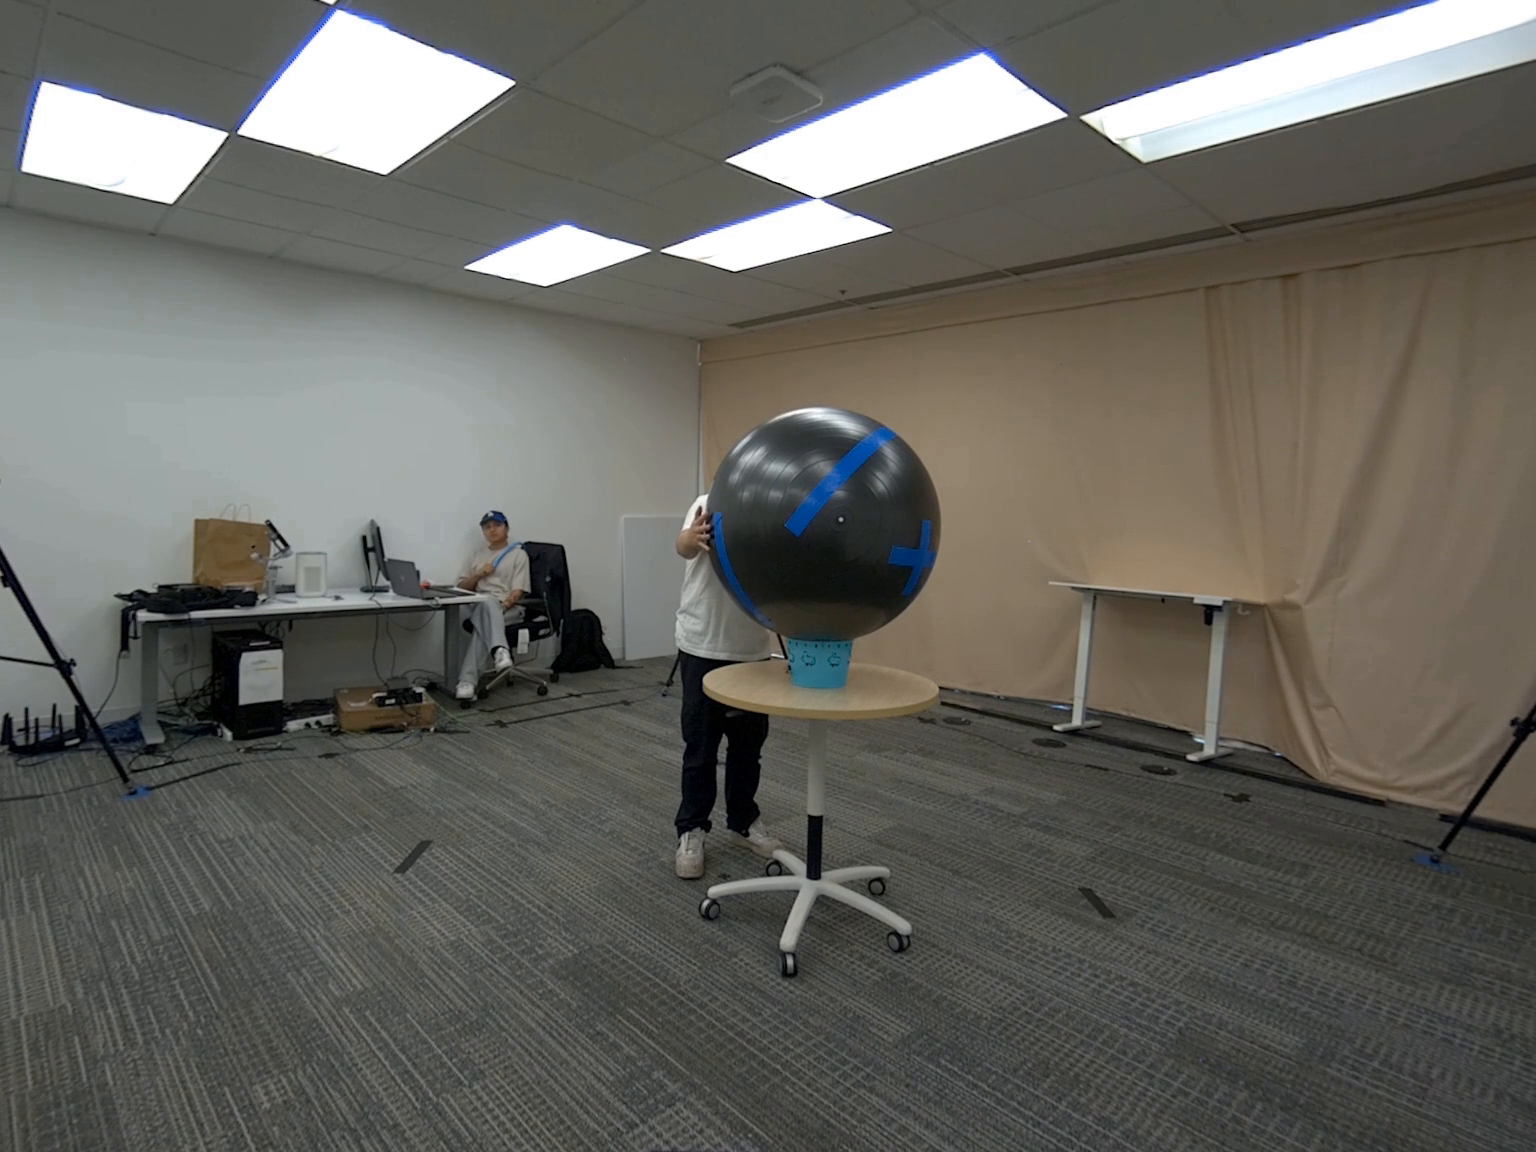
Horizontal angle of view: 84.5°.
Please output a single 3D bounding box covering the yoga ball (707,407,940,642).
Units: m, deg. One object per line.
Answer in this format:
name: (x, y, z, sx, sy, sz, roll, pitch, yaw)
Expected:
yoga ball: (0.171, -0.161, 2.734, 0.757, 0.756, 0.761, 1, 4, -1)
